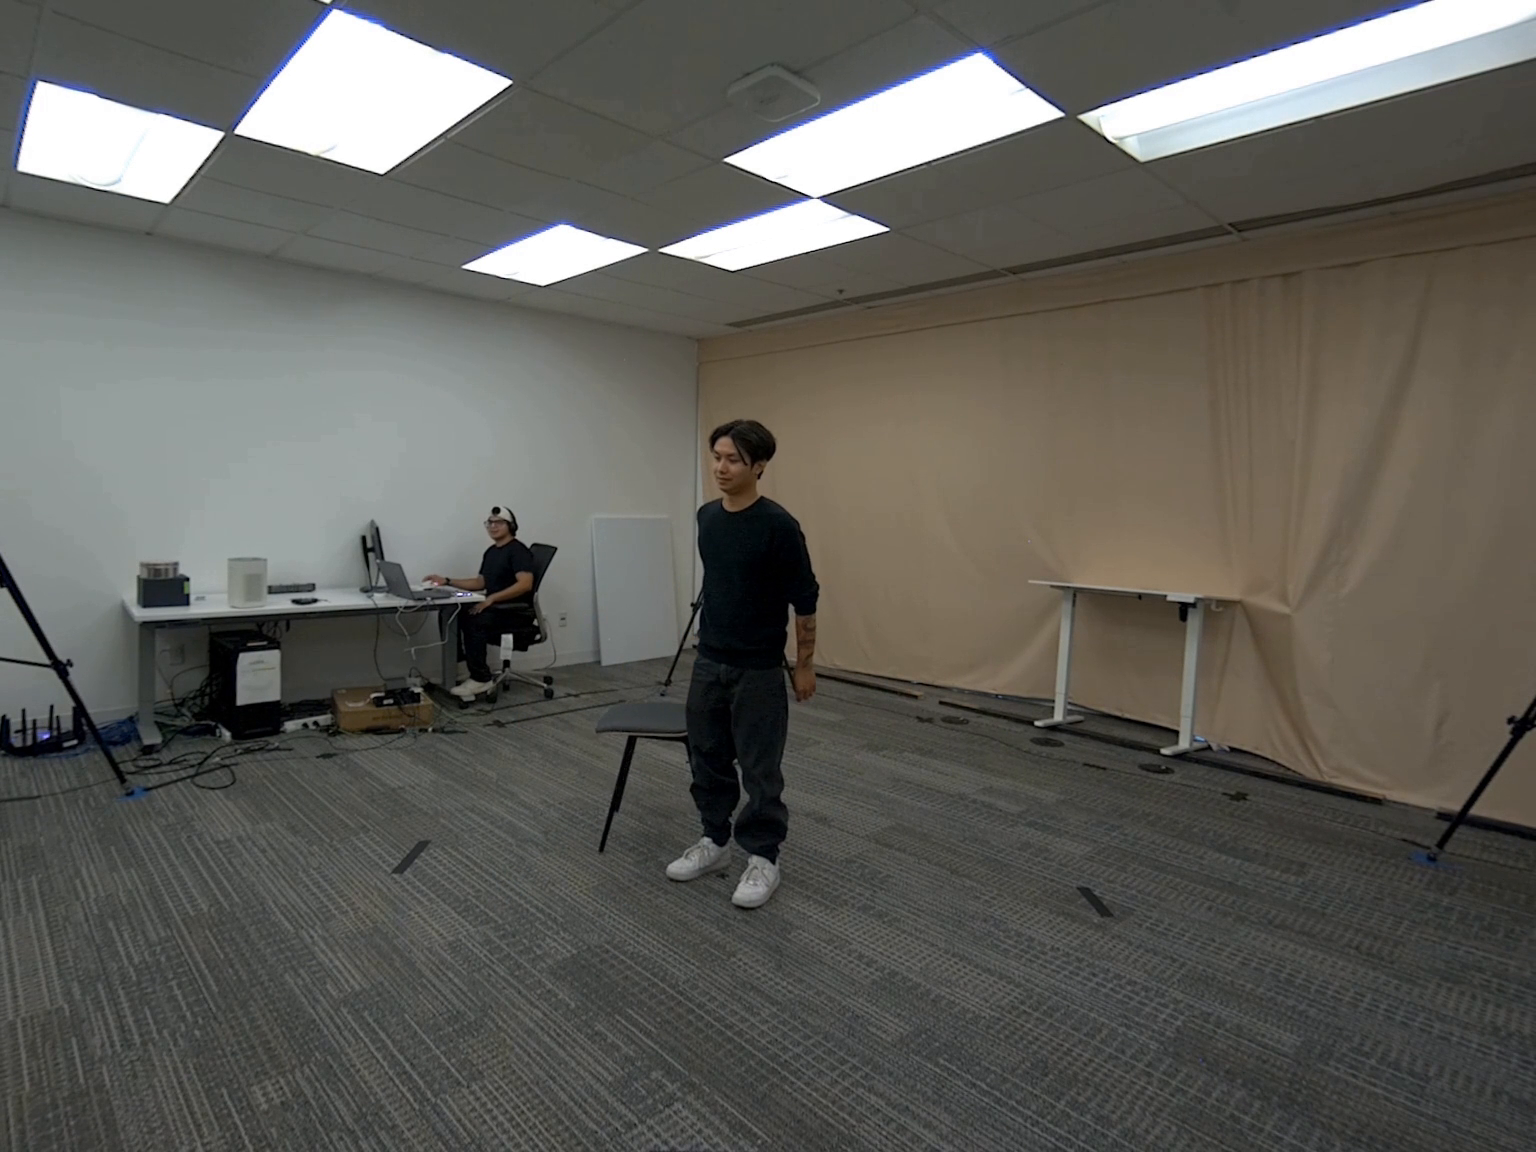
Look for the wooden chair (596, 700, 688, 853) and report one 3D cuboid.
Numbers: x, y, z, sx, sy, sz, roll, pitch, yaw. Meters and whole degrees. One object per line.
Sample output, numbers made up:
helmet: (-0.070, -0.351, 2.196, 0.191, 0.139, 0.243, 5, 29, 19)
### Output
wooden chair: (-0.443, 0.638, 3.464, 0.522, 0.875, 0.480, 6, 4, -2)
